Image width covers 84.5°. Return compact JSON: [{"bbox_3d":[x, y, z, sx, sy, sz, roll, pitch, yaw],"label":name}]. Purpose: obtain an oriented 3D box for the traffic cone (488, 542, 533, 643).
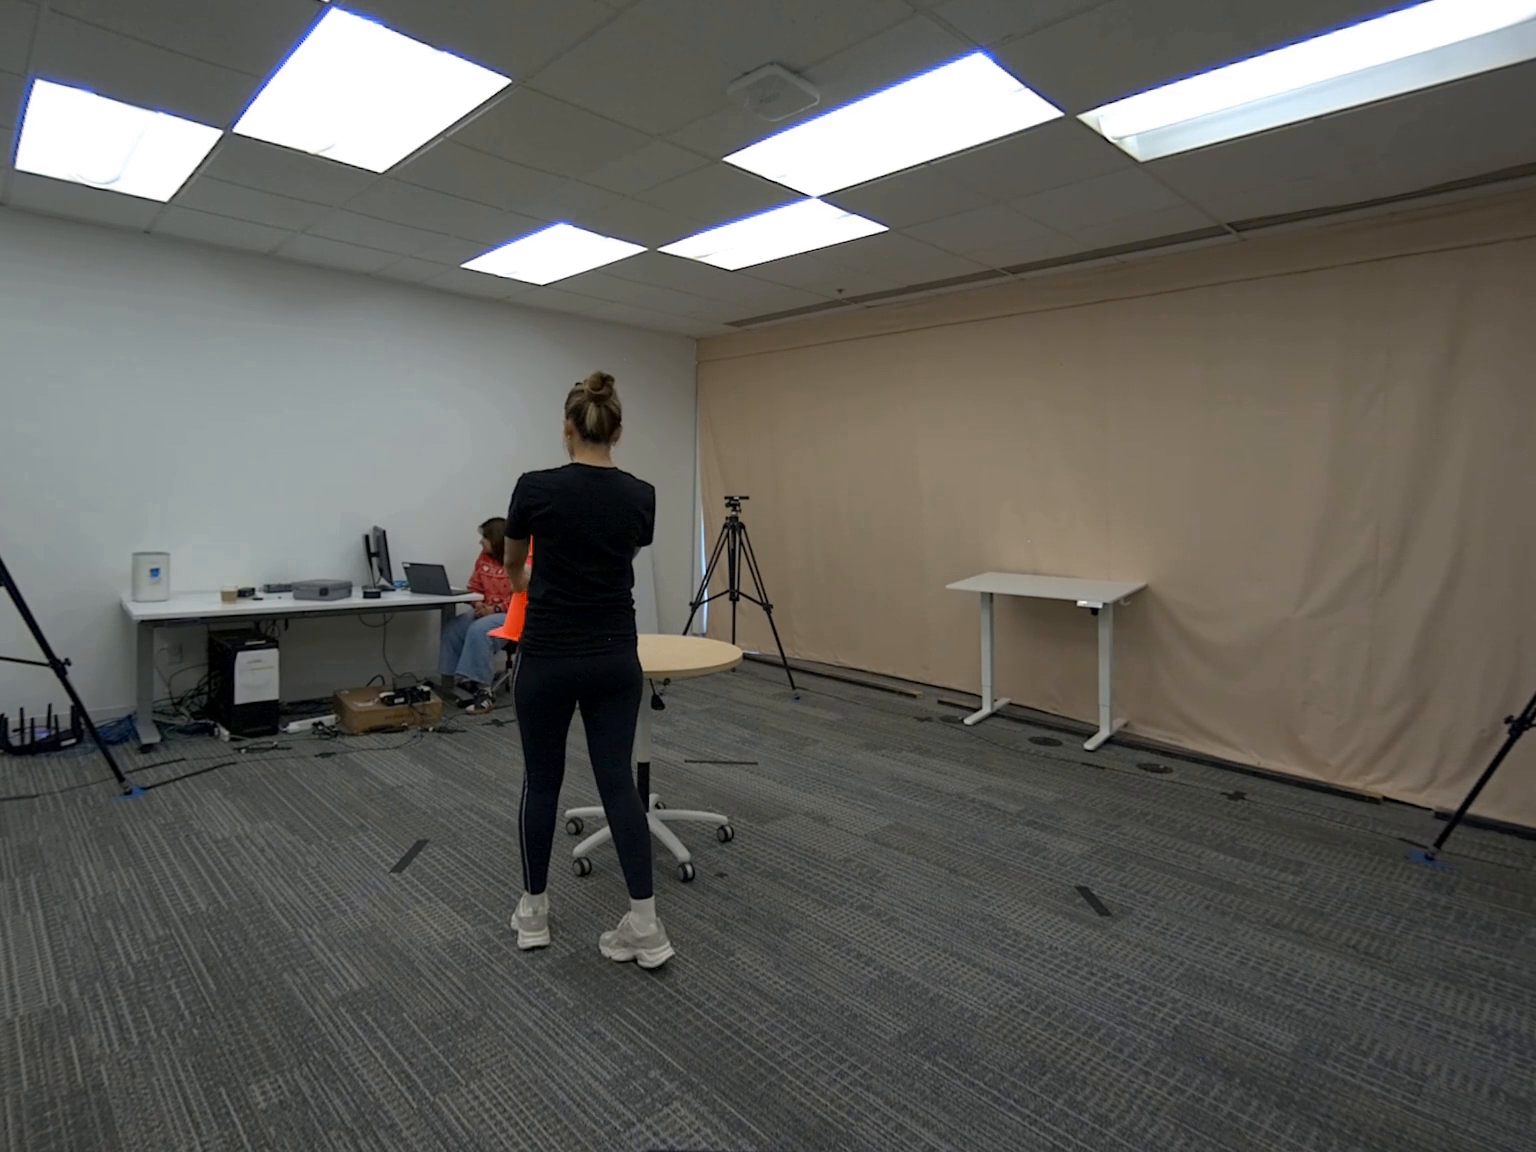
[{"bbox_3d":[-0.840,0.027,2.955,0.207,0.381,0.202,11,9,21],"label":"traffic cone"}]
